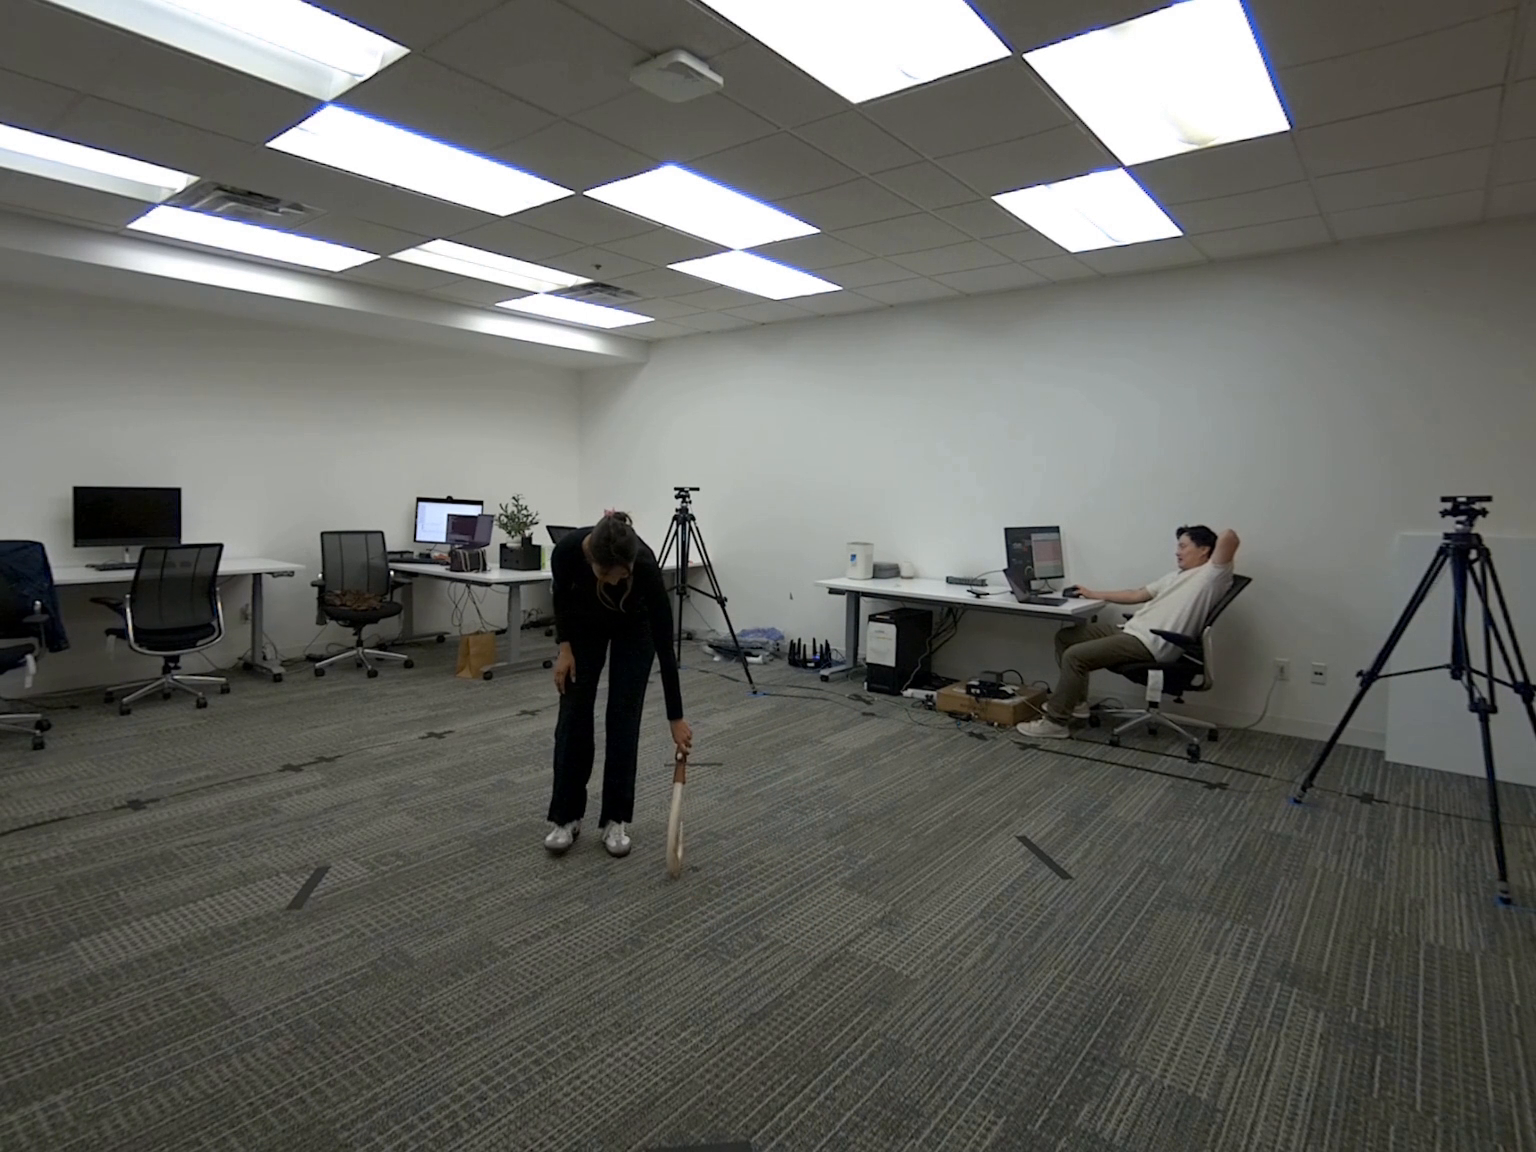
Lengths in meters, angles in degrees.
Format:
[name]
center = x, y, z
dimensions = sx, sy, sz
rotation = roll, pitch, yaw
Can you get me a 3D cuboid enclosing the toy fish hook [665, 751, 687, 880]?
[toy fish hook]
center = -0.337, 0.828, 3.130
dimensions = 0.048, 0.518, 0.219
rotation = 2, -28, 2
